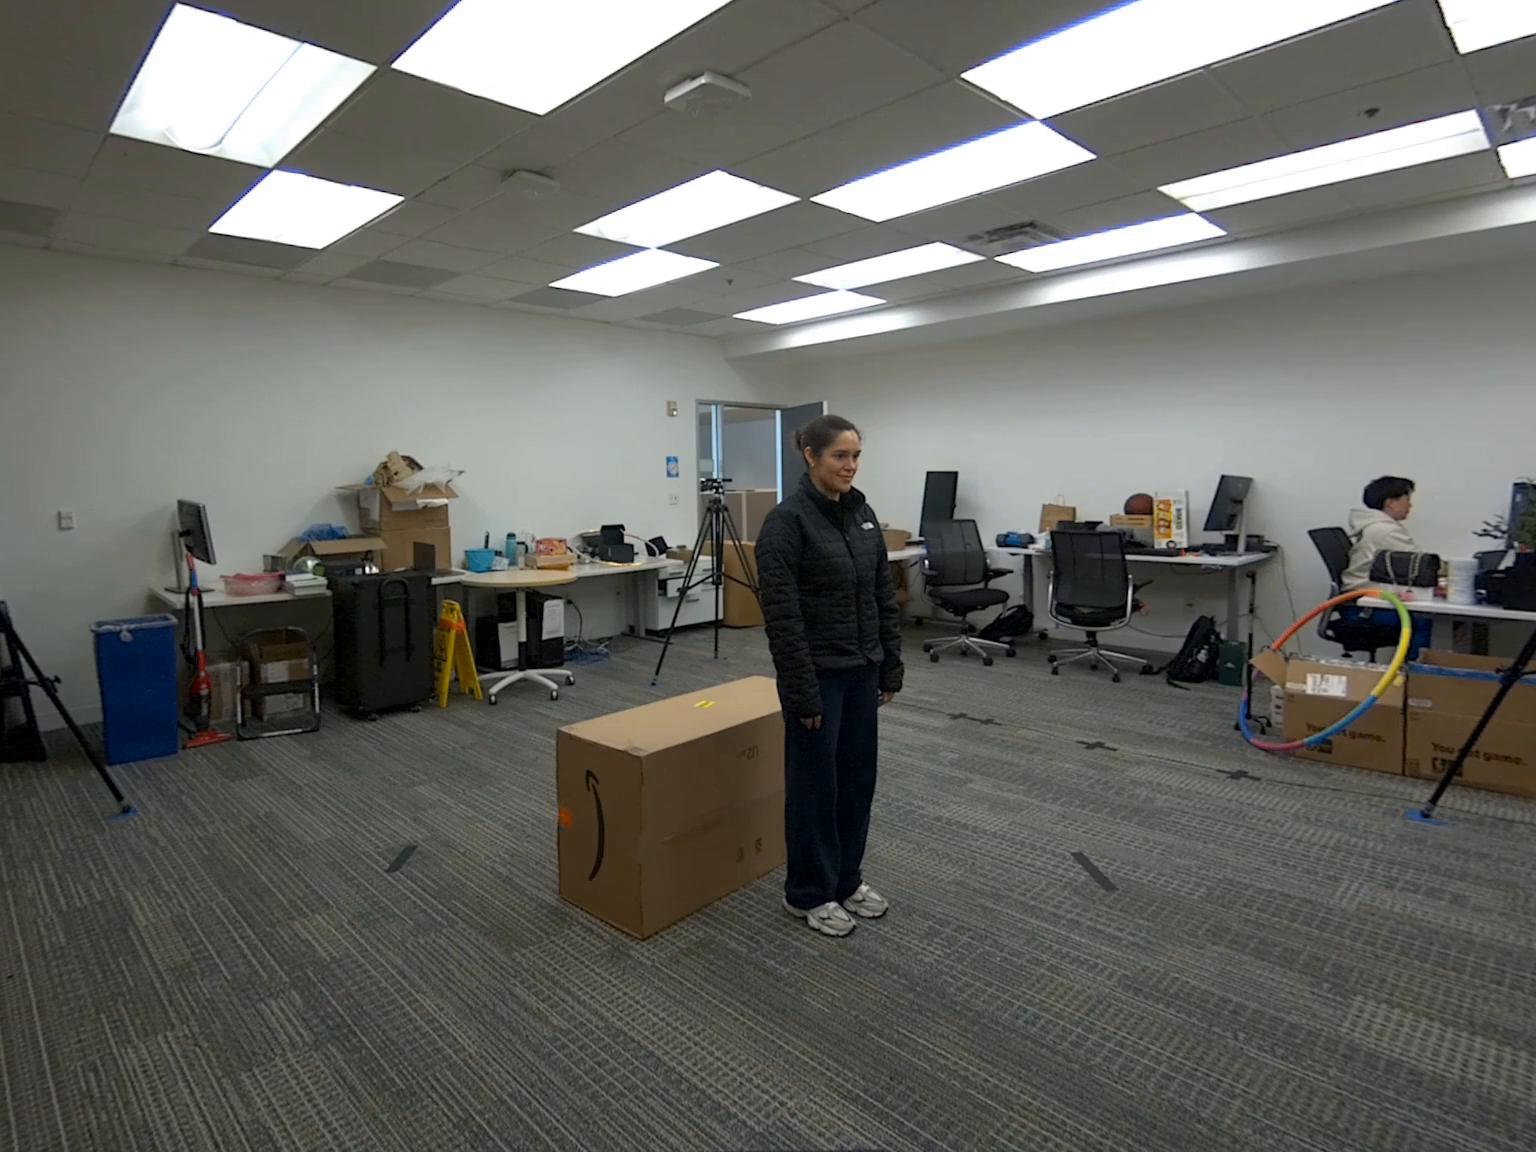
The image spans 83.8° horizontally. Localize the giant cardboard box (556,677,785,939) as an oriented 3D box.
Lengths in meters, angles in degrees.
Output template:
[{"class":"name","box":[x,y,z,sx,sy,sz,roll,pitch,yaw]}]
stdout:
[{"class":"giant cardboard box","box":[-0.222,0.762,3.102,0.439,0.575,0.999,5,8,41]}]
